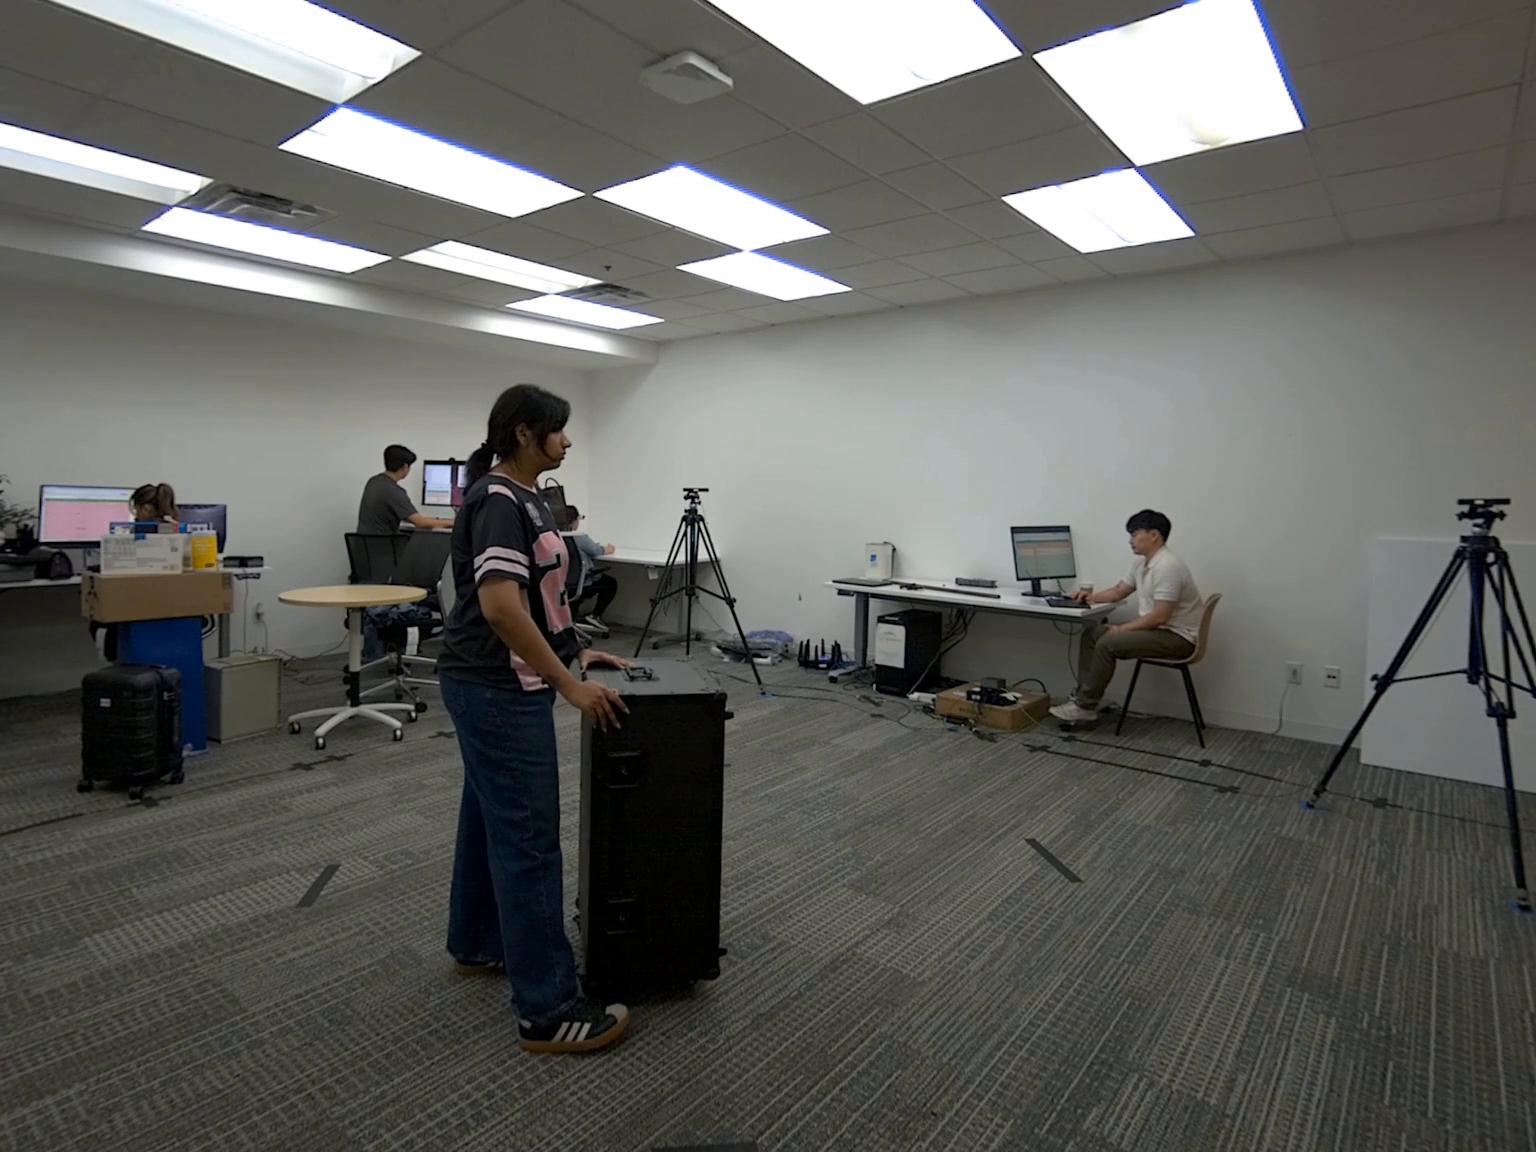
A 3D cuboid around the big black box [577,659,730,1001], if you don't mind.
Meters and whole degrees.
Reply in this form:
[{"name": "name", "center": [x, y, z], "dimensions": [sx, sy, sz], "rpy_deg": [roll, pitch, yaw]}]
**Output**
[{"name": "big black box", "center": [-0.361, 0.706, 2.466], "dimensions": [0.379, 0.866, 0.533], "rpy_deg": [1, 3, -16]}]
